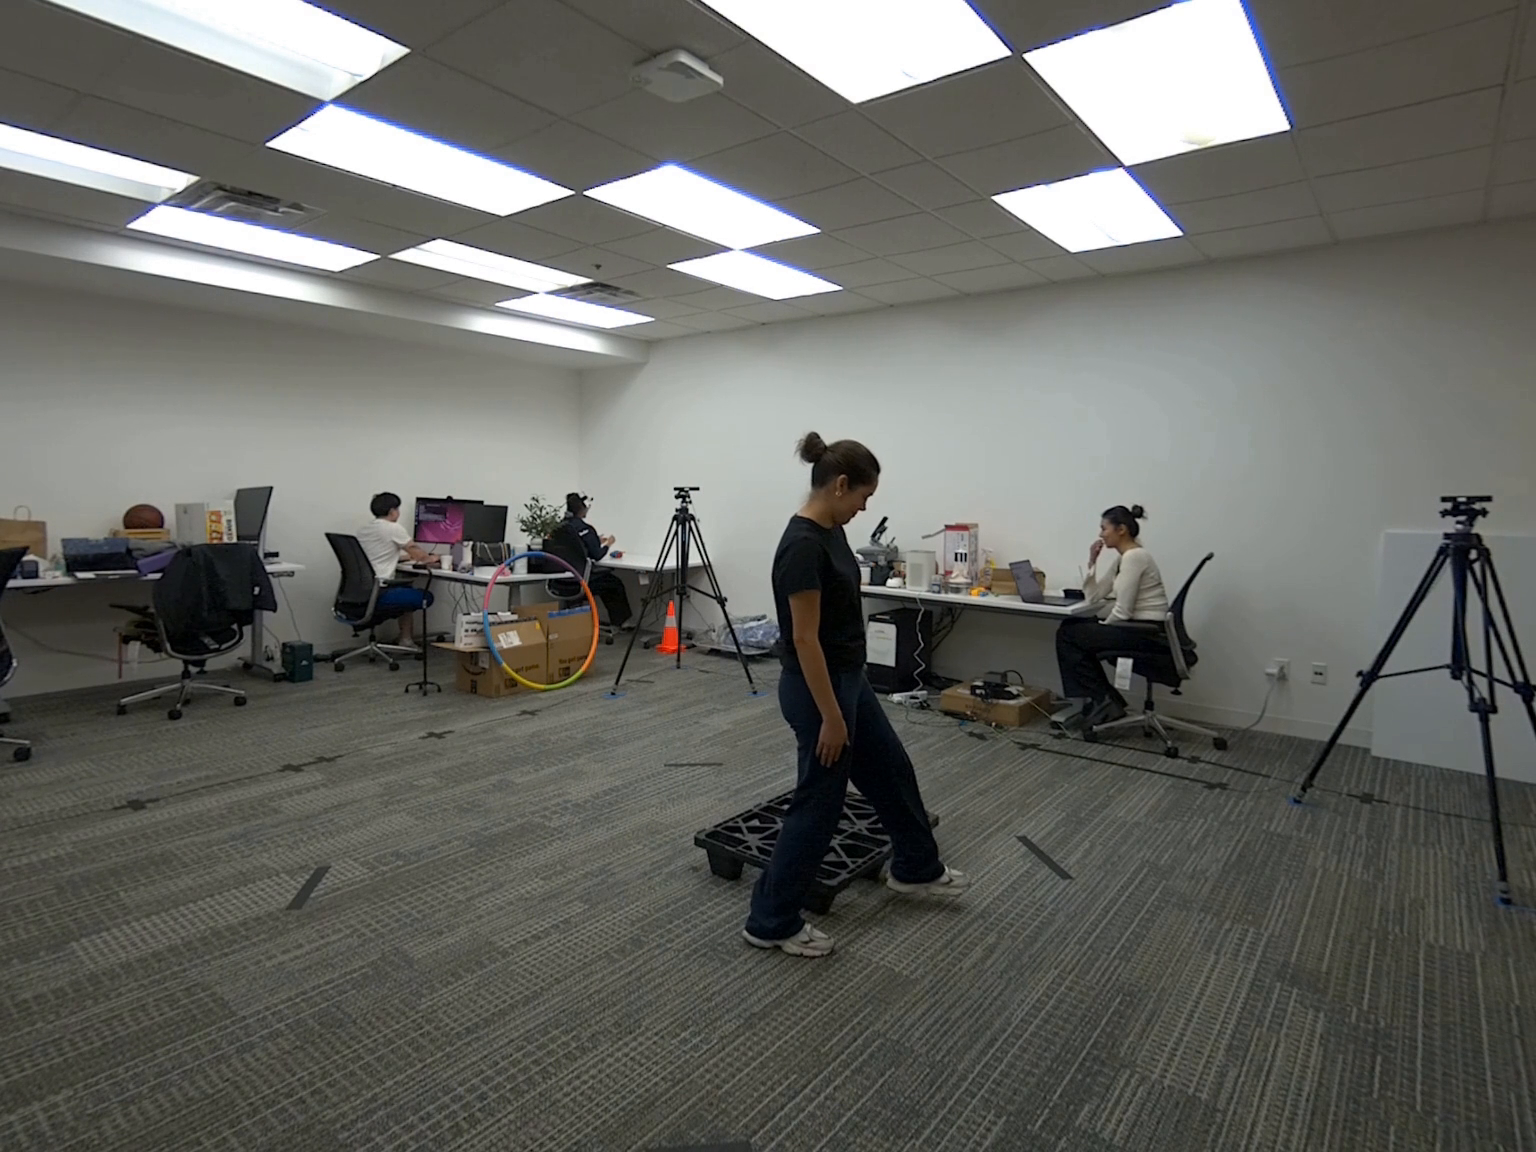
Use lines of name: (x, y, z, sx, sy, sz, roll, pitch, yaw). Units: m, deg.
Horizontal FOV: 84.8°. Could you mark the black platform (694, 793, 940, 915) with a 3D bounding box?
black platform: (0.208, 0.997, 3.208, 0.625, 0.143, 0.782, 5, 7, 38)
